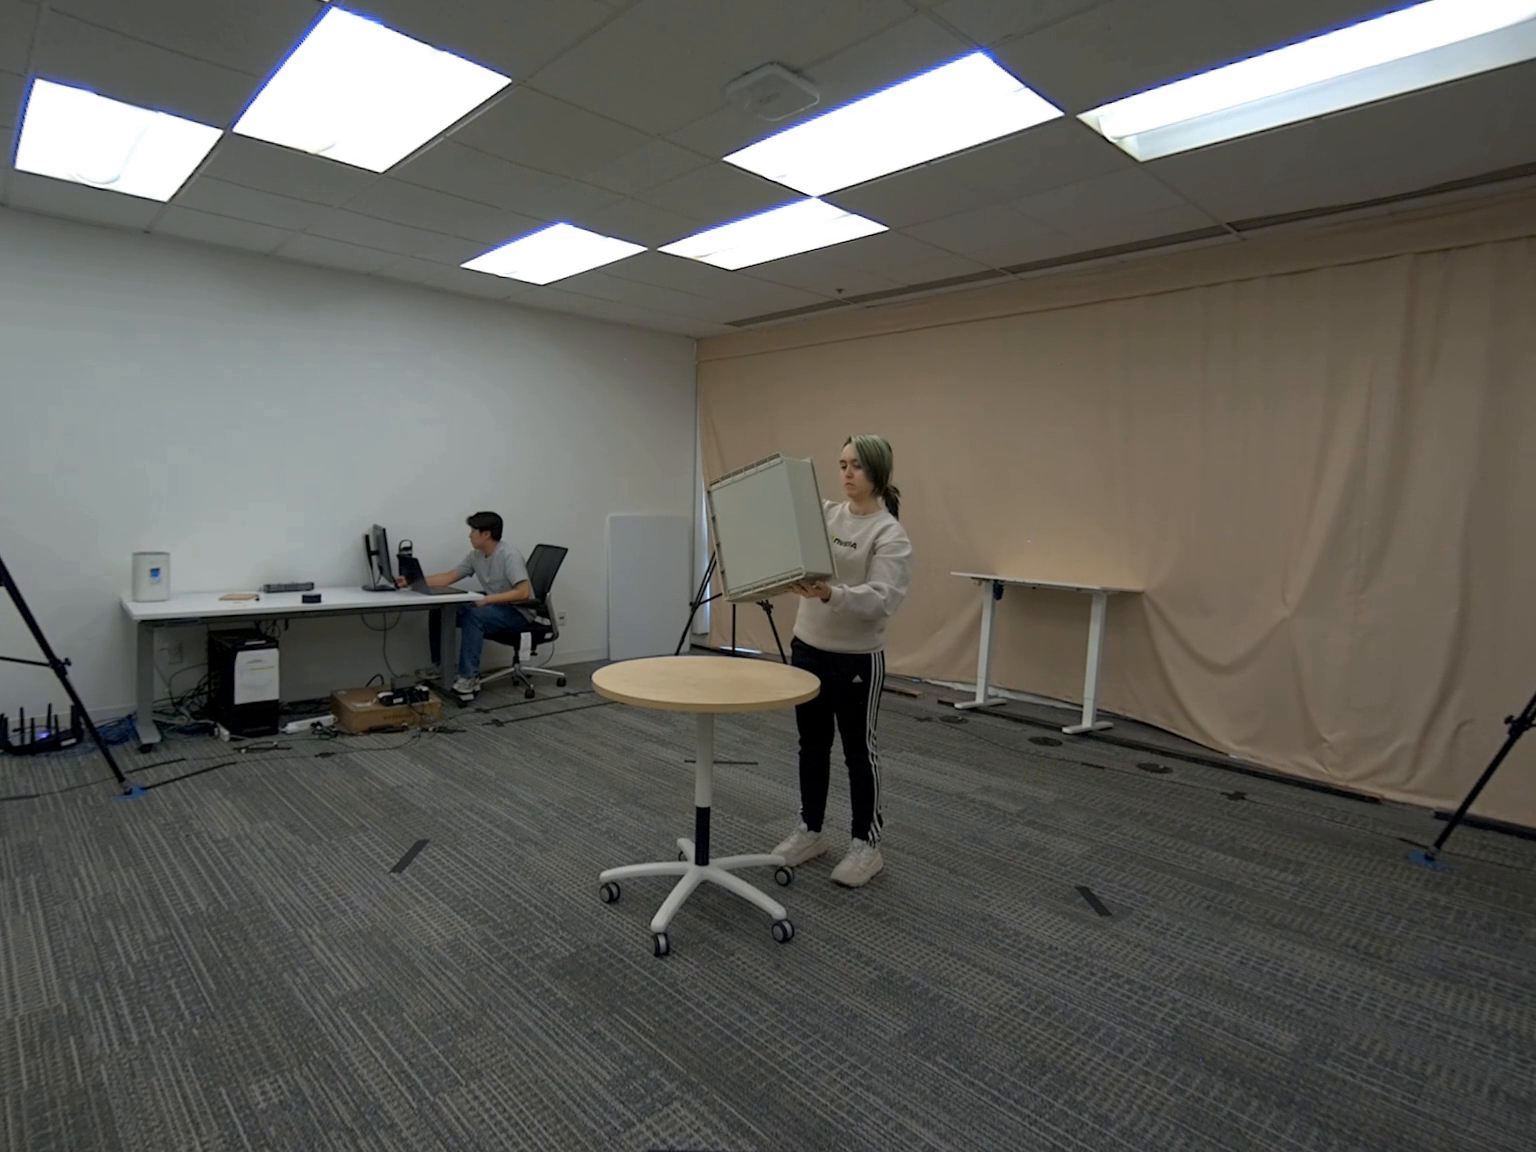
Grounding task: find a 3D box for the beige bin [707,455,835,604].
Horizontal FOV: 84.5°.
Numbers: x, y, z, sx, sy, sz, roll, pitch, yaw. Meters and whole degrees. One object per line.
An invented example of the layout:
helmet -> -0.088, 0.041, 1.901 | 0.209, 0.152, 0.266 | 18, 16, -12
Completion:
beige bin -> -0.017, -0.156, 2.832 | 0.383, 0.427, 0.184 | -19, -15, 38
